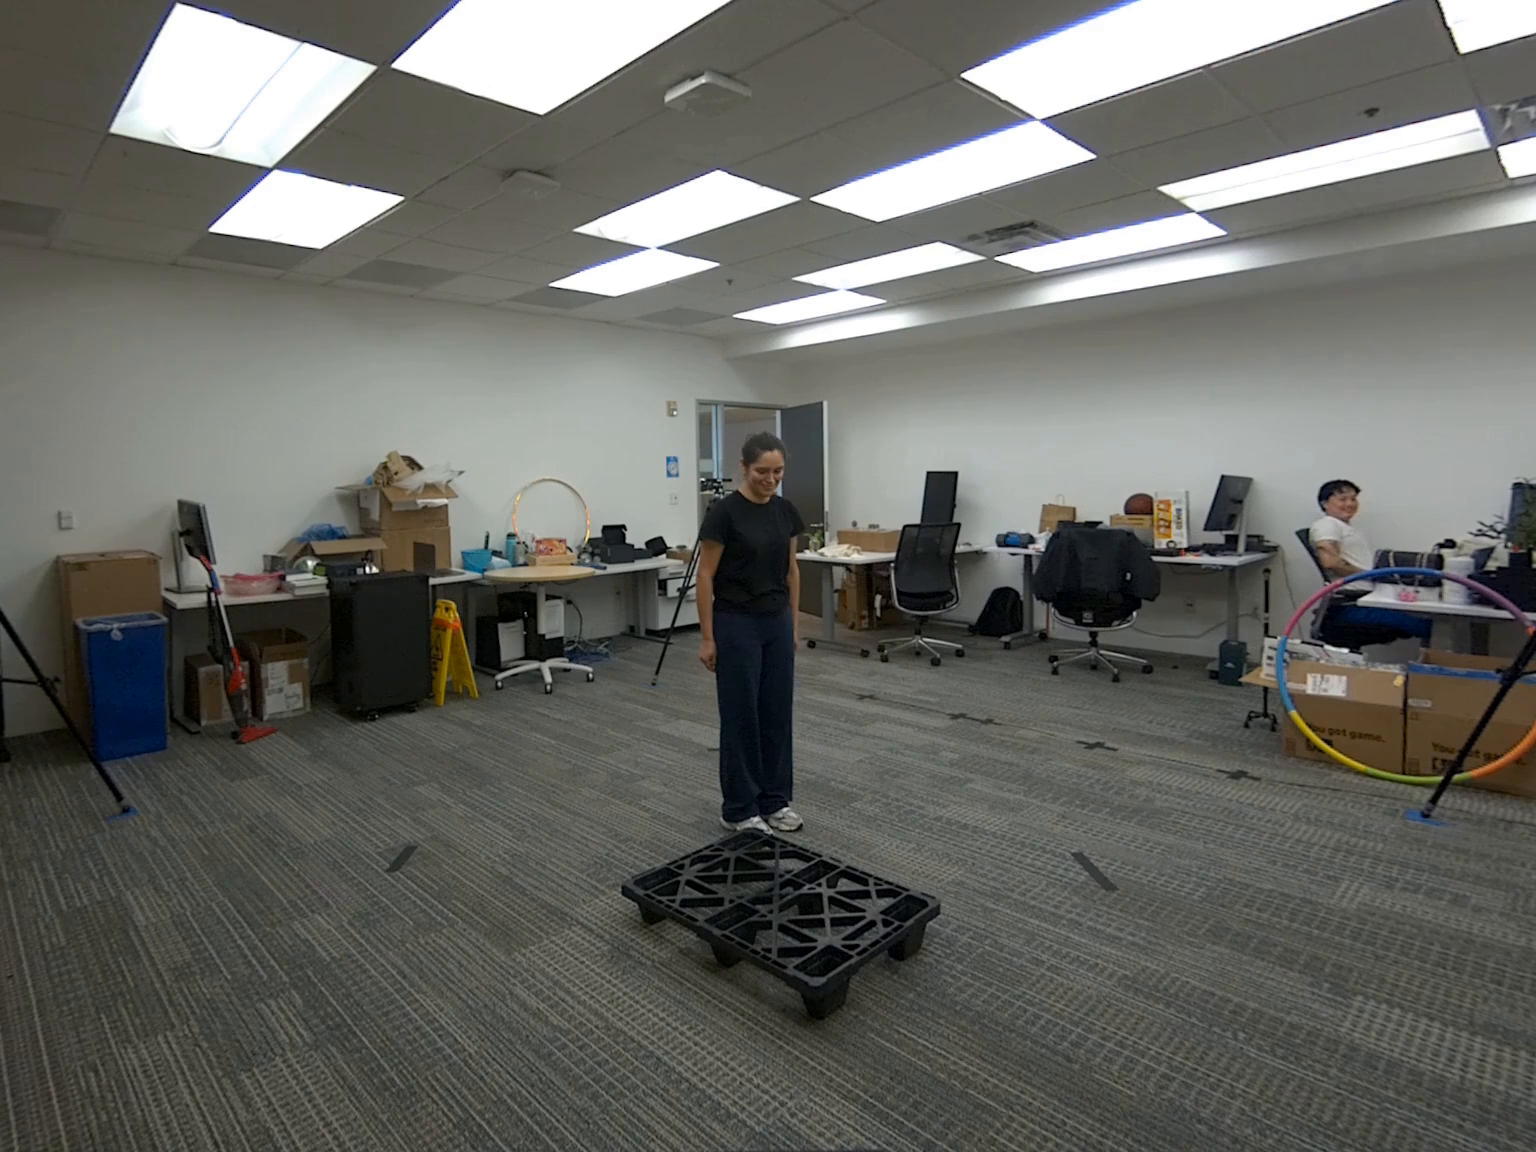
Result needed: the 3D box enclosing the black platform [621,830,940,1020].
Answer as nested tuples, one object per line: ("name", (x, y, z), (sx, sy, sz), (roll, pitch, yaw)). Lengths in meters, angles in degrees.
("black platform", (0.026, 1.032, 2.639), (0.831, 0.142, 0.589), (6, 9, 43))
